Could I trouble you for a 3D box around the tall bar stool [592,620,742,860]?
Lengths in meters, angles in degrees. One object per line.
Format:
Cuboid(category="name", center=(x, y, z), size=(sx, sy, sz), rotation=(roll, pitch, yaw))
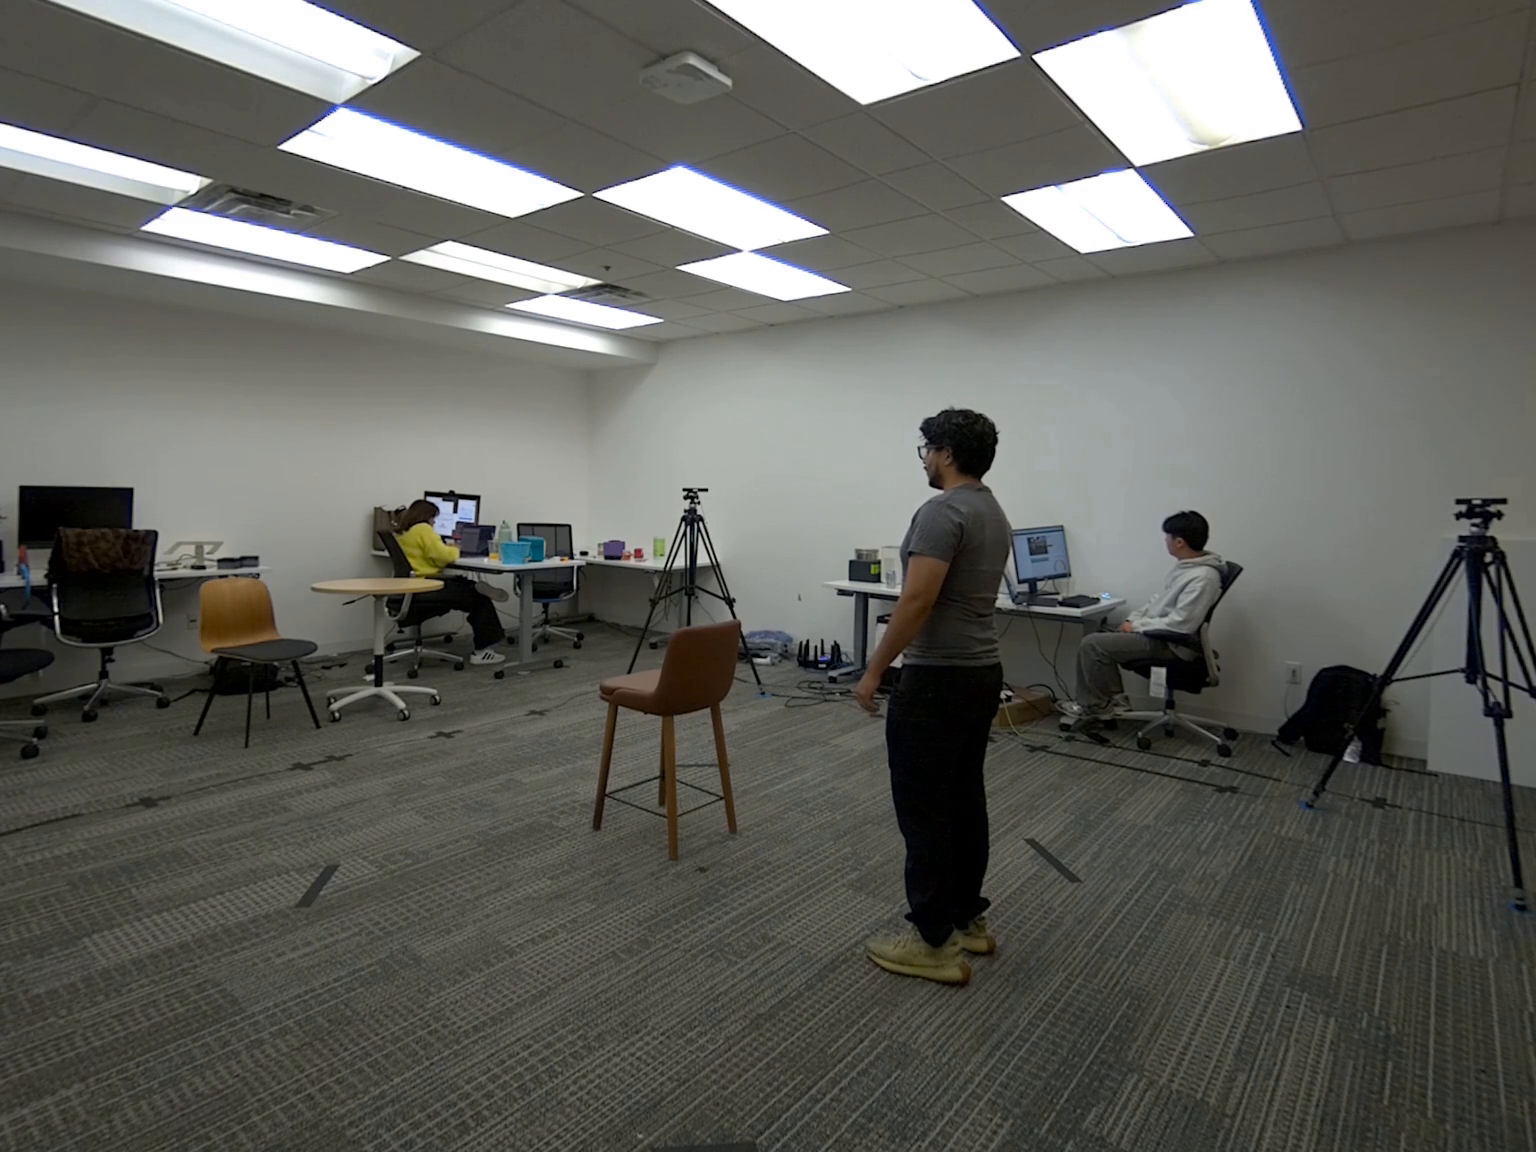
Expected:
Cuboid(category="tall bar stool", center=(-0.414, 0.601, 3.442), size=(0.483, 0.887, 0.442), rotation=(5, 4, 39))
